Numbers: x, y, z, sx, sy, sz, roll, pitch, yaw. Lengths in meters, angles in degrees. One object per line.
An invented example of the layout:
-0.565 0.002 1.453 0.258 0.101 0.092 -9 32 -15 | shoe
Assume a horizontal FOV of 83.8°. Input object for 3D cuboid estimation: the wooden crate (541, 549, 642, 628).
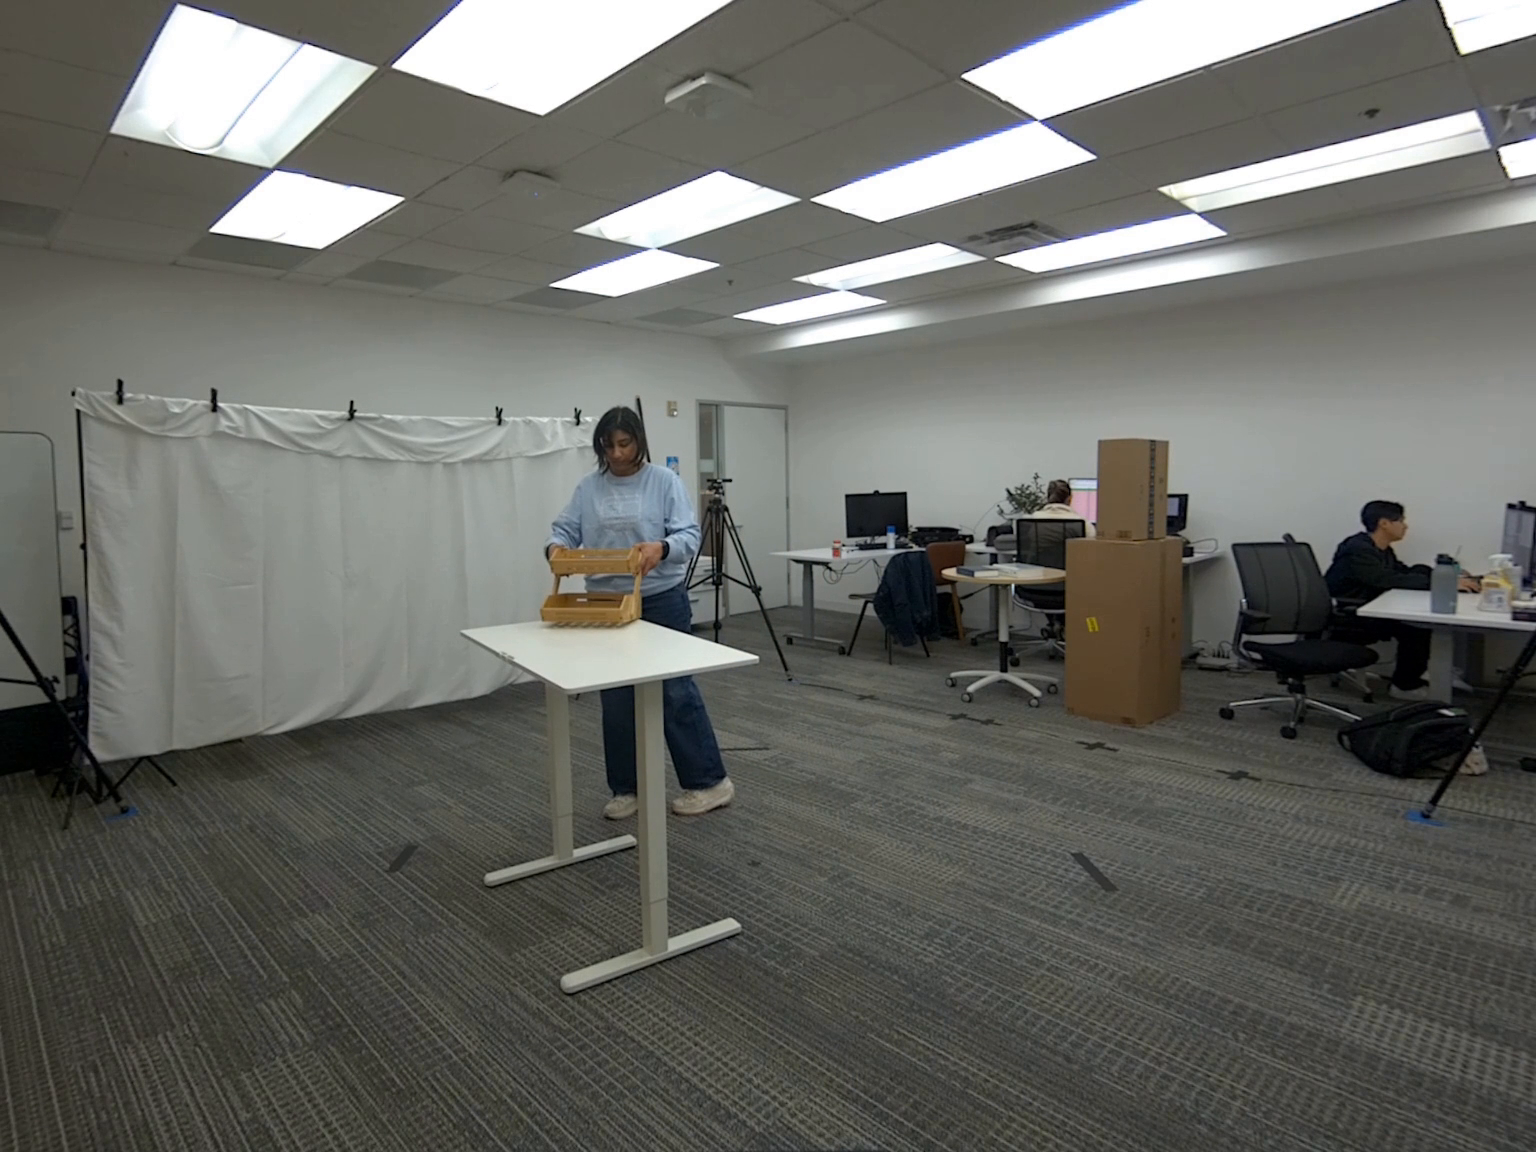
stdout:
-0.642 0.024 3.135 0.327 0.274 0.299 0 -1 7 | wooden crate
